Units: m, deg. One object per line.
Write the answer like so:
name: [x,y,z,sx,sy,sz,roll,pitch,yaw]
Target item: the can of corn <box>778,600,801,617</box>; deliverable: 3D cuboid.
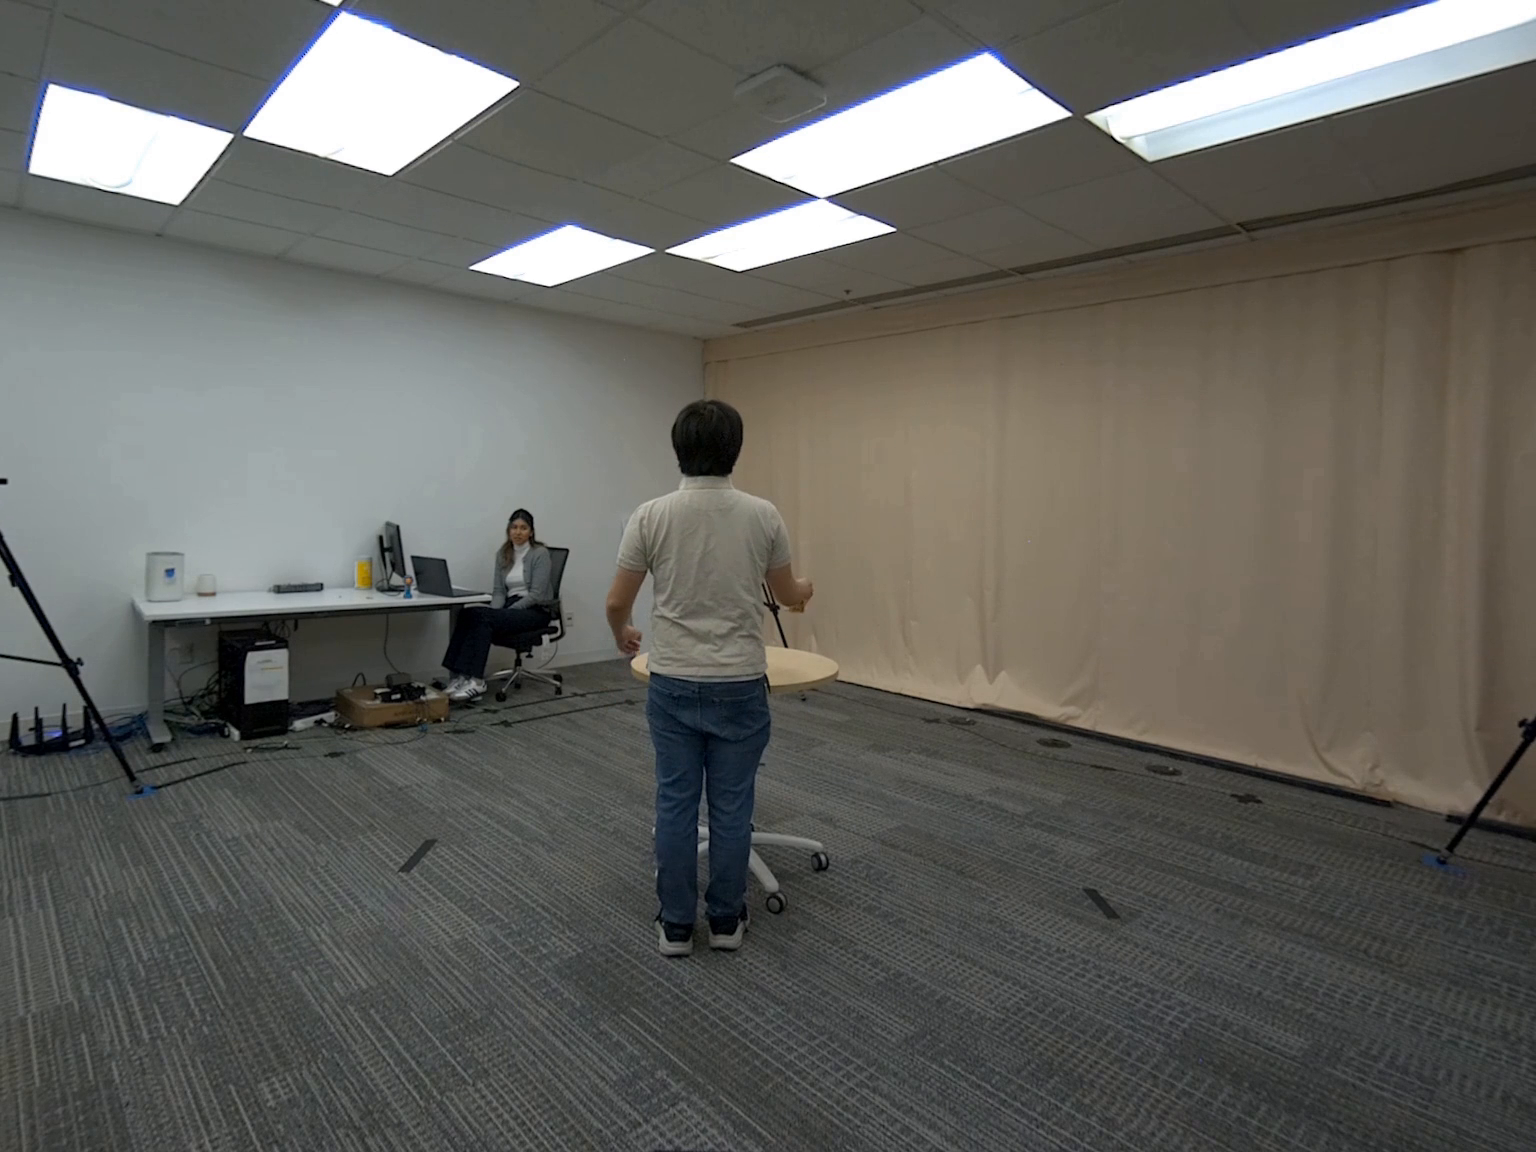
can of corn: [0.074,0.080,3.034,0.074,0.110,0.074,-1,5,-1]
